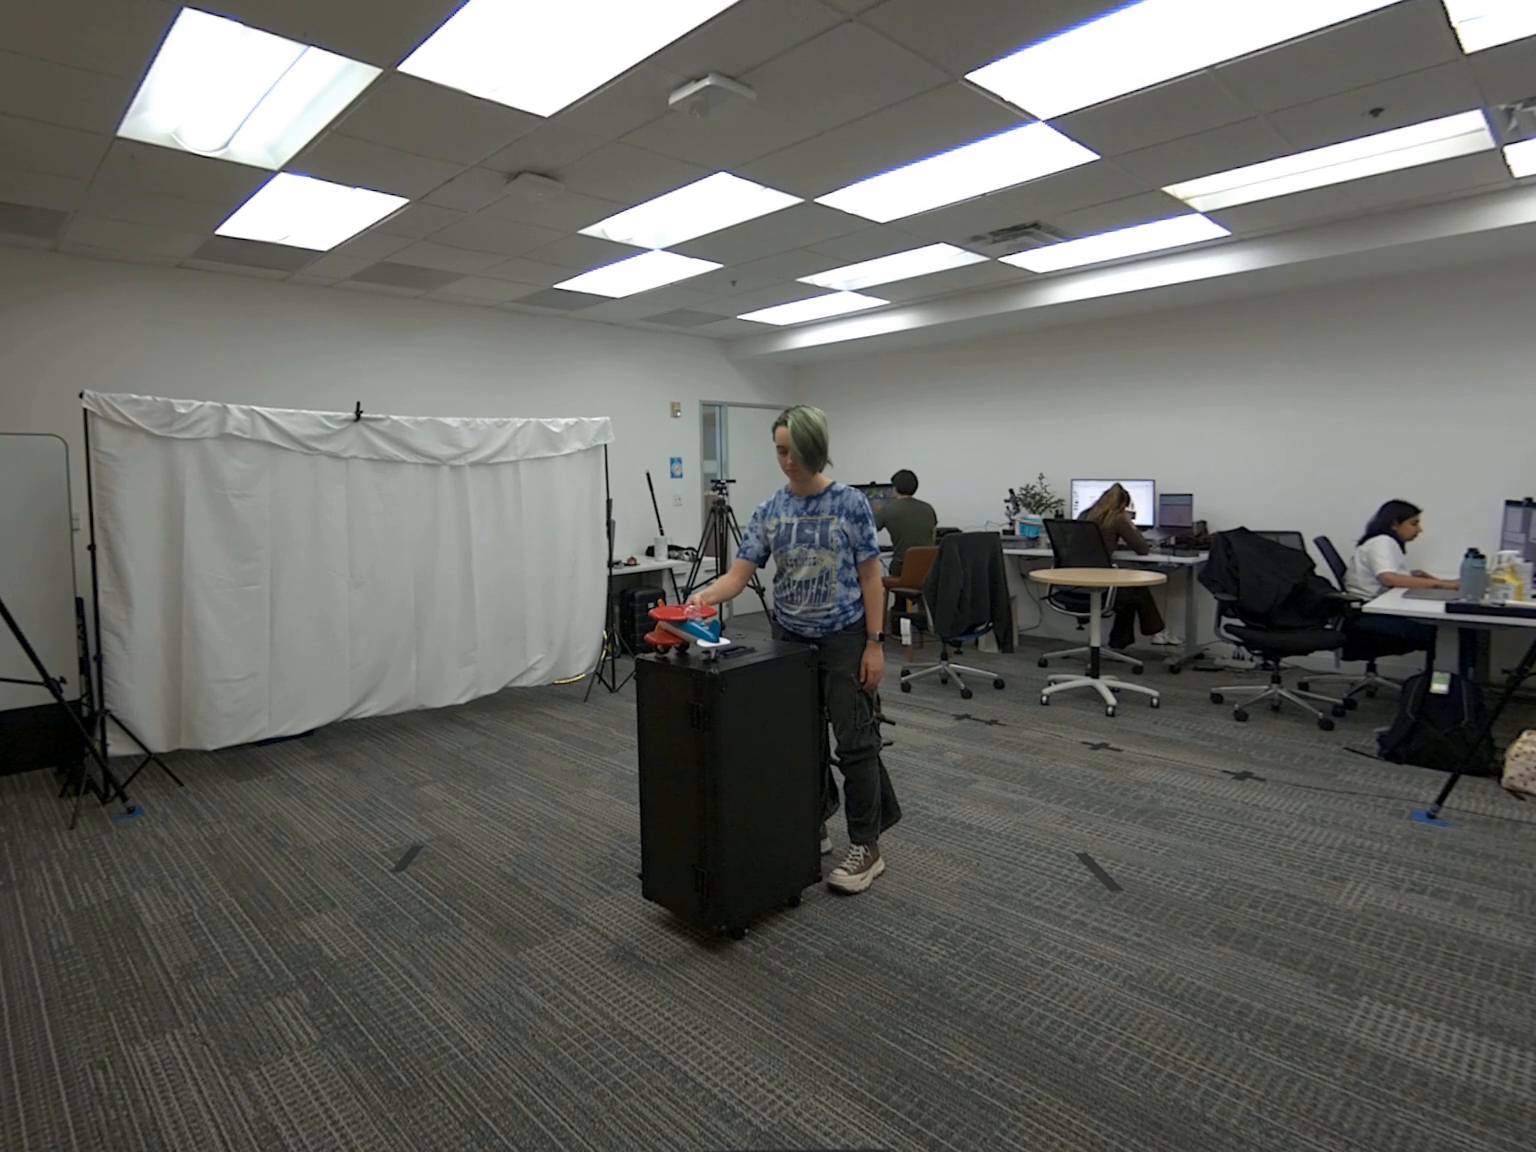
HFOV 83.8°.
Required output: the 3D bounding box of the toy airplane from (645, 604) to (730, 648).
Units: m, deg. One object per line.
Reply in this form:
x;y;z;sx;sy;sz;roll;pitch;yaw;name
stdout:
-0.221;0.178;2.673;0.263;0.156;0.247;3;1;16;toy airplane
